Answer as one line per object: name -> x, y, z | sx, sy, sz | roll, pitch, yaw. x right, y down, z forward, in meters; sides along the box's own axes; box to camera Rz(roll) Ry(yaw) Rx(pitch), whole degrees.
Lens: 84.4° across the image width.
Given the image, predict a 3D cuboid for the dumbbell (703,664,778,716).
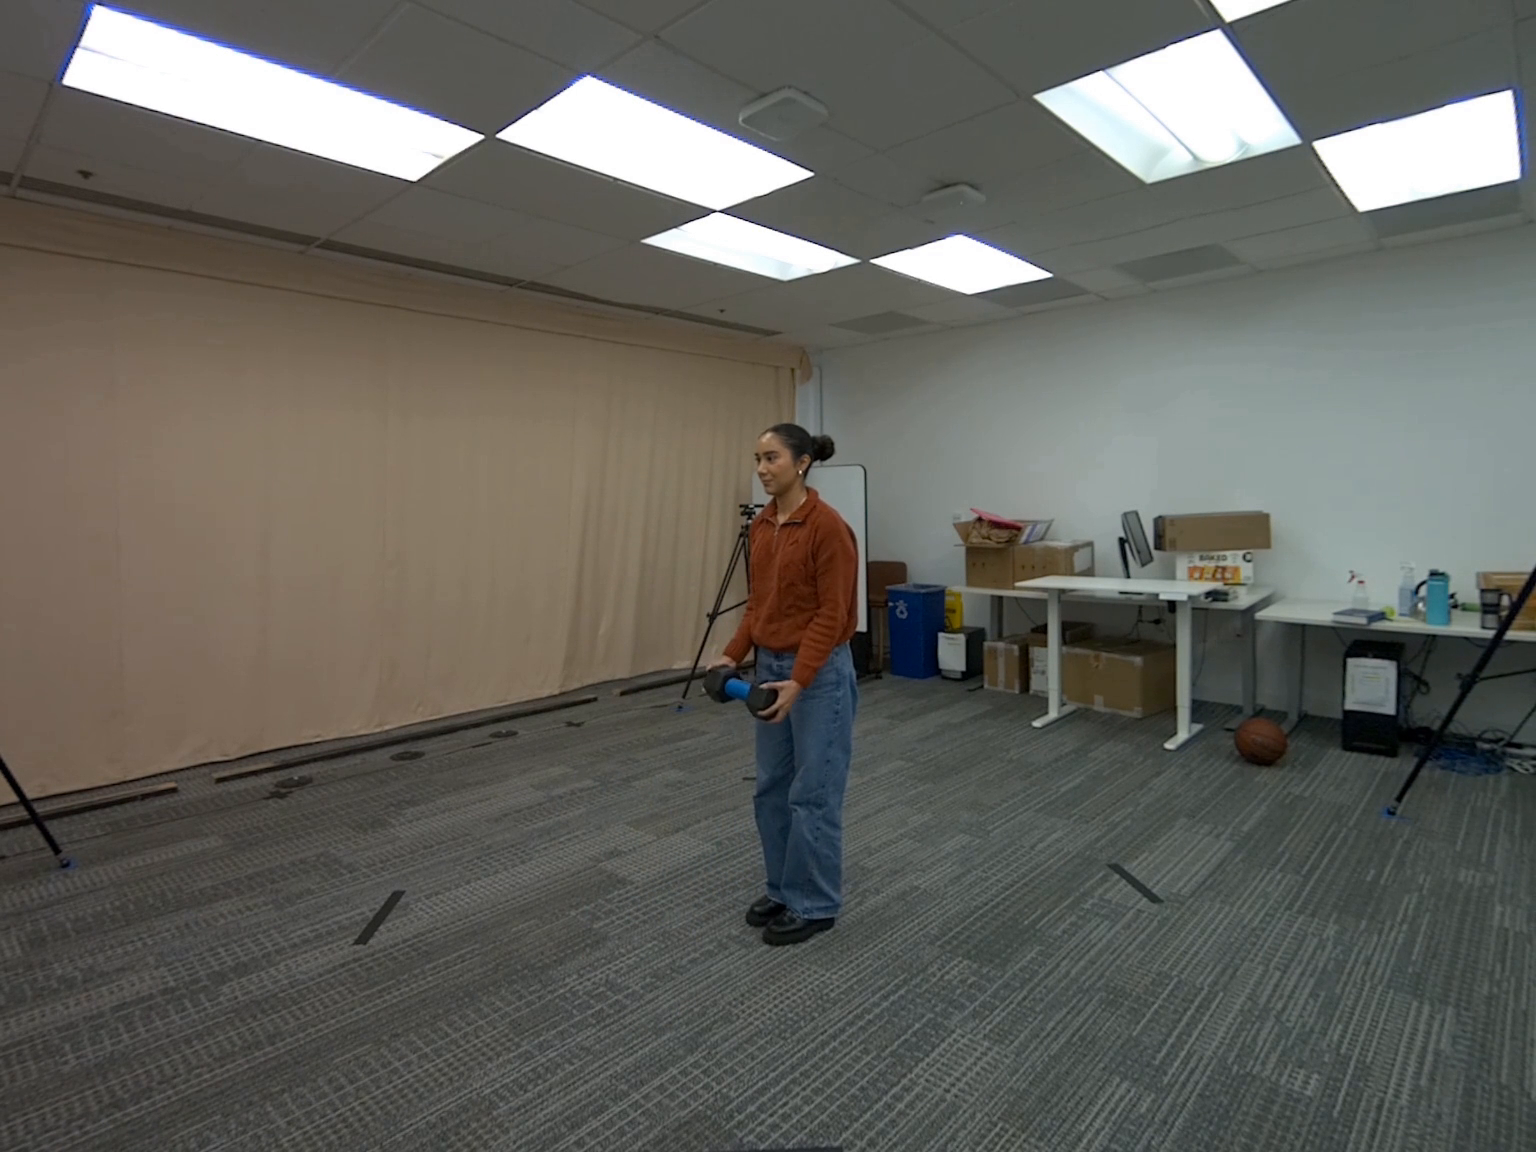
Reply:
dumbbell -> -0.067, 0.359, 2.654 | 0.105, 0.123, 0.303 | 26, -10, -37
